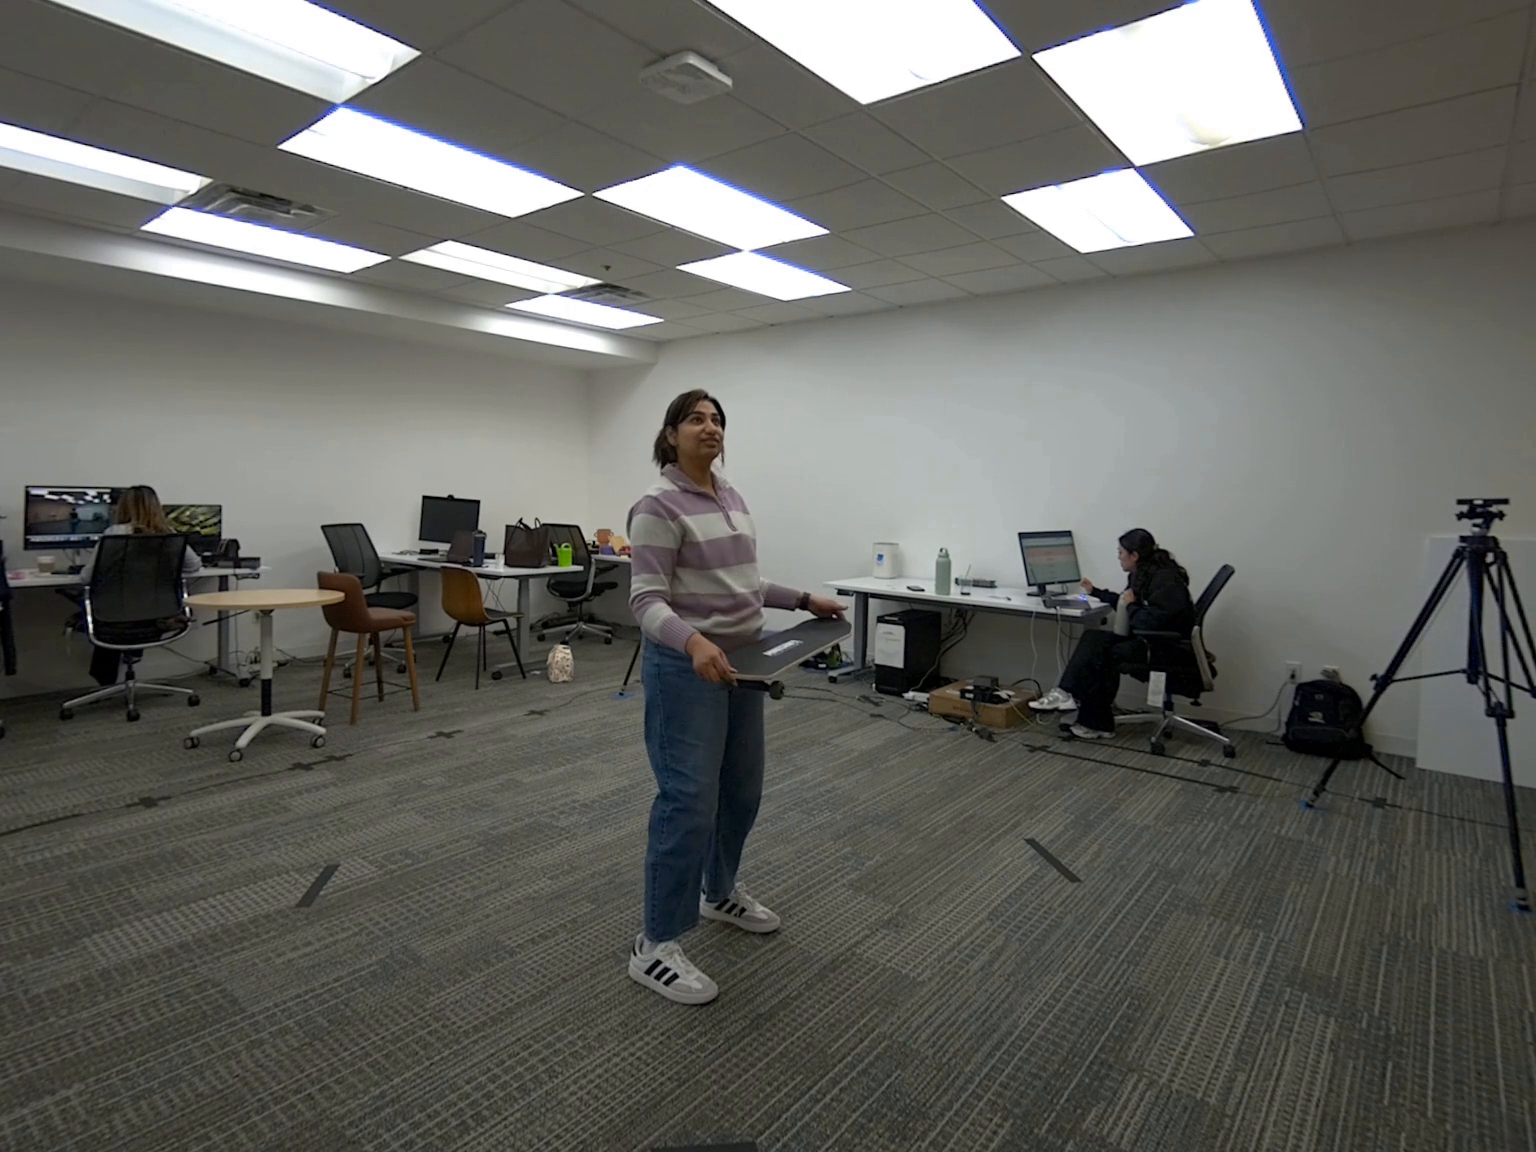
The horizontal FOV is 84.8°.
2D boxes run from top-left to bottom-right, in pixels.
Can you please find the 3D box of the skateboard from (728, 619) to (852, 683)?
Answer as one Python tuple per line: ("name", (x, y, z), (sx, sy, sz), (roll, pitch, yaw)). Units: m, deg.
("skateboard", (0.035, 0.240, 2.443), (0.199, 0.109, 0.768), (8, 10, 26))
